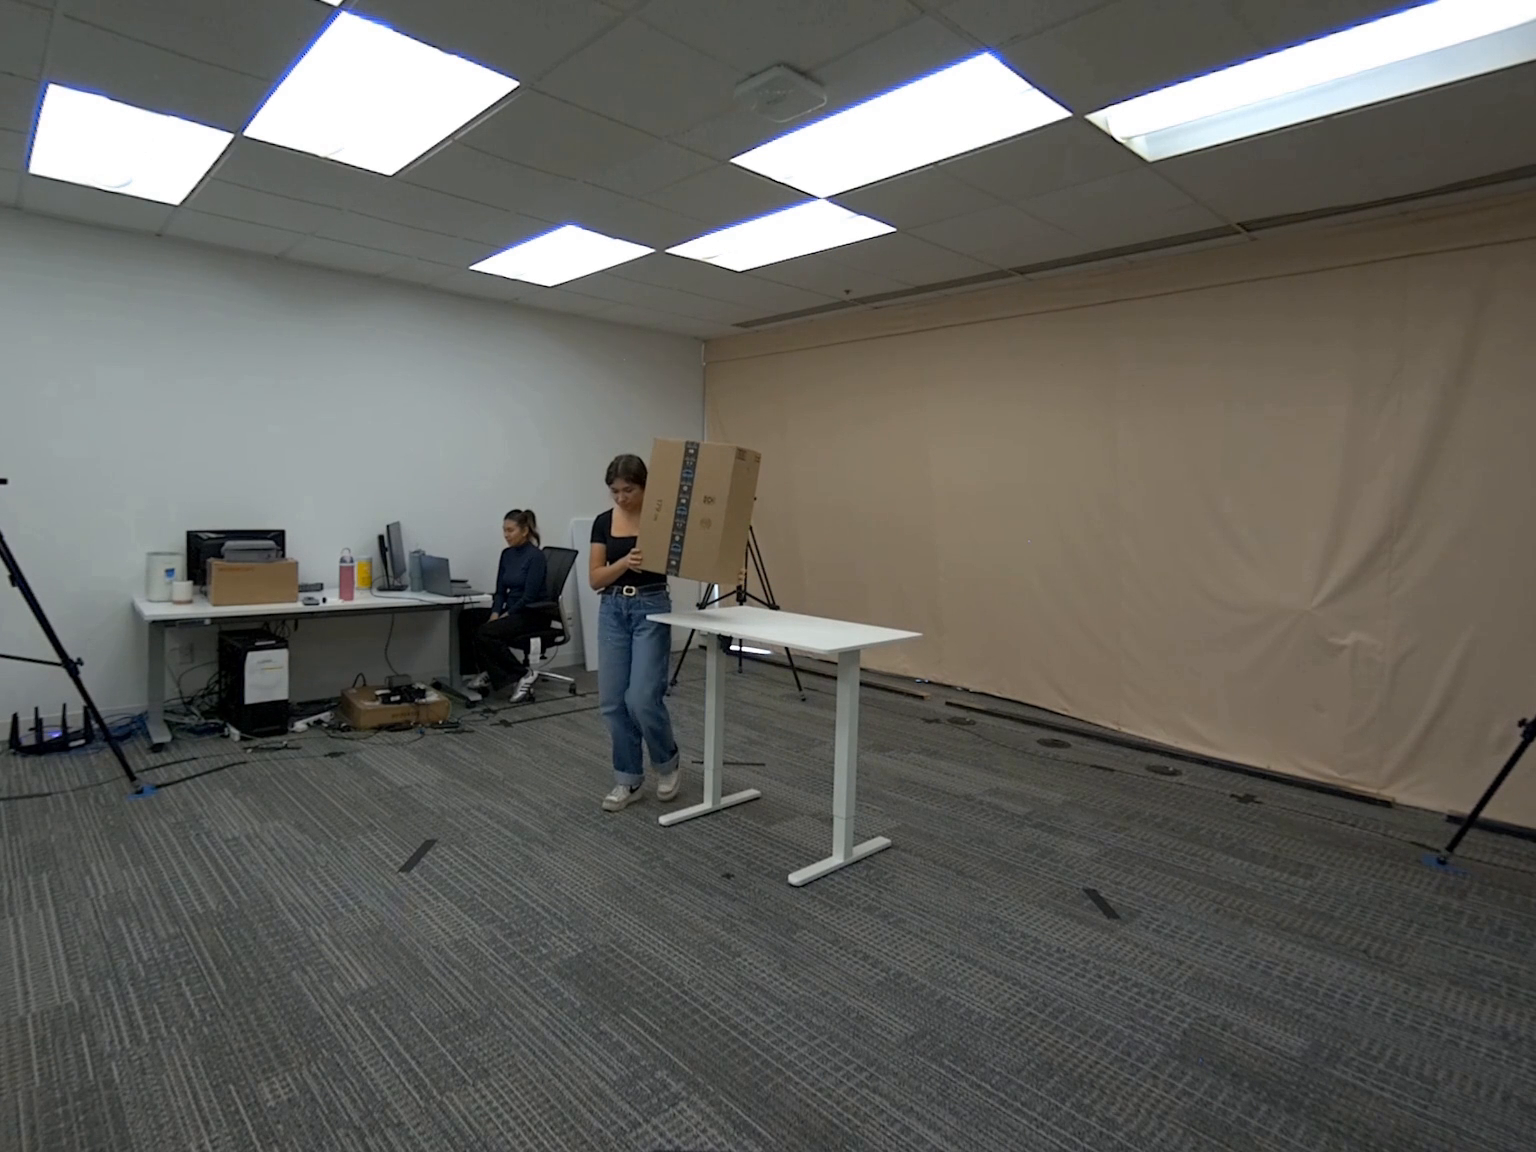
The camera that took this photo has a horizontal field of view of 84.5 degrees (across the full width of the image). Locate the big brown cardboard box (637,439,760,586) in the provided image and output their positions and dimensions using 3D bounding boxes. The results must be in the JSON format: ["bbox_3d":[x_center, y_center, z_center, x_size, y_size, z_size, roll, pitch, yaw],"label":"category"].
[{"bbox_3d":[-0.301,-0.272,3.555,0.427,0.588,0.228,11,3,29],"label":"big brown cardboard box"}]
